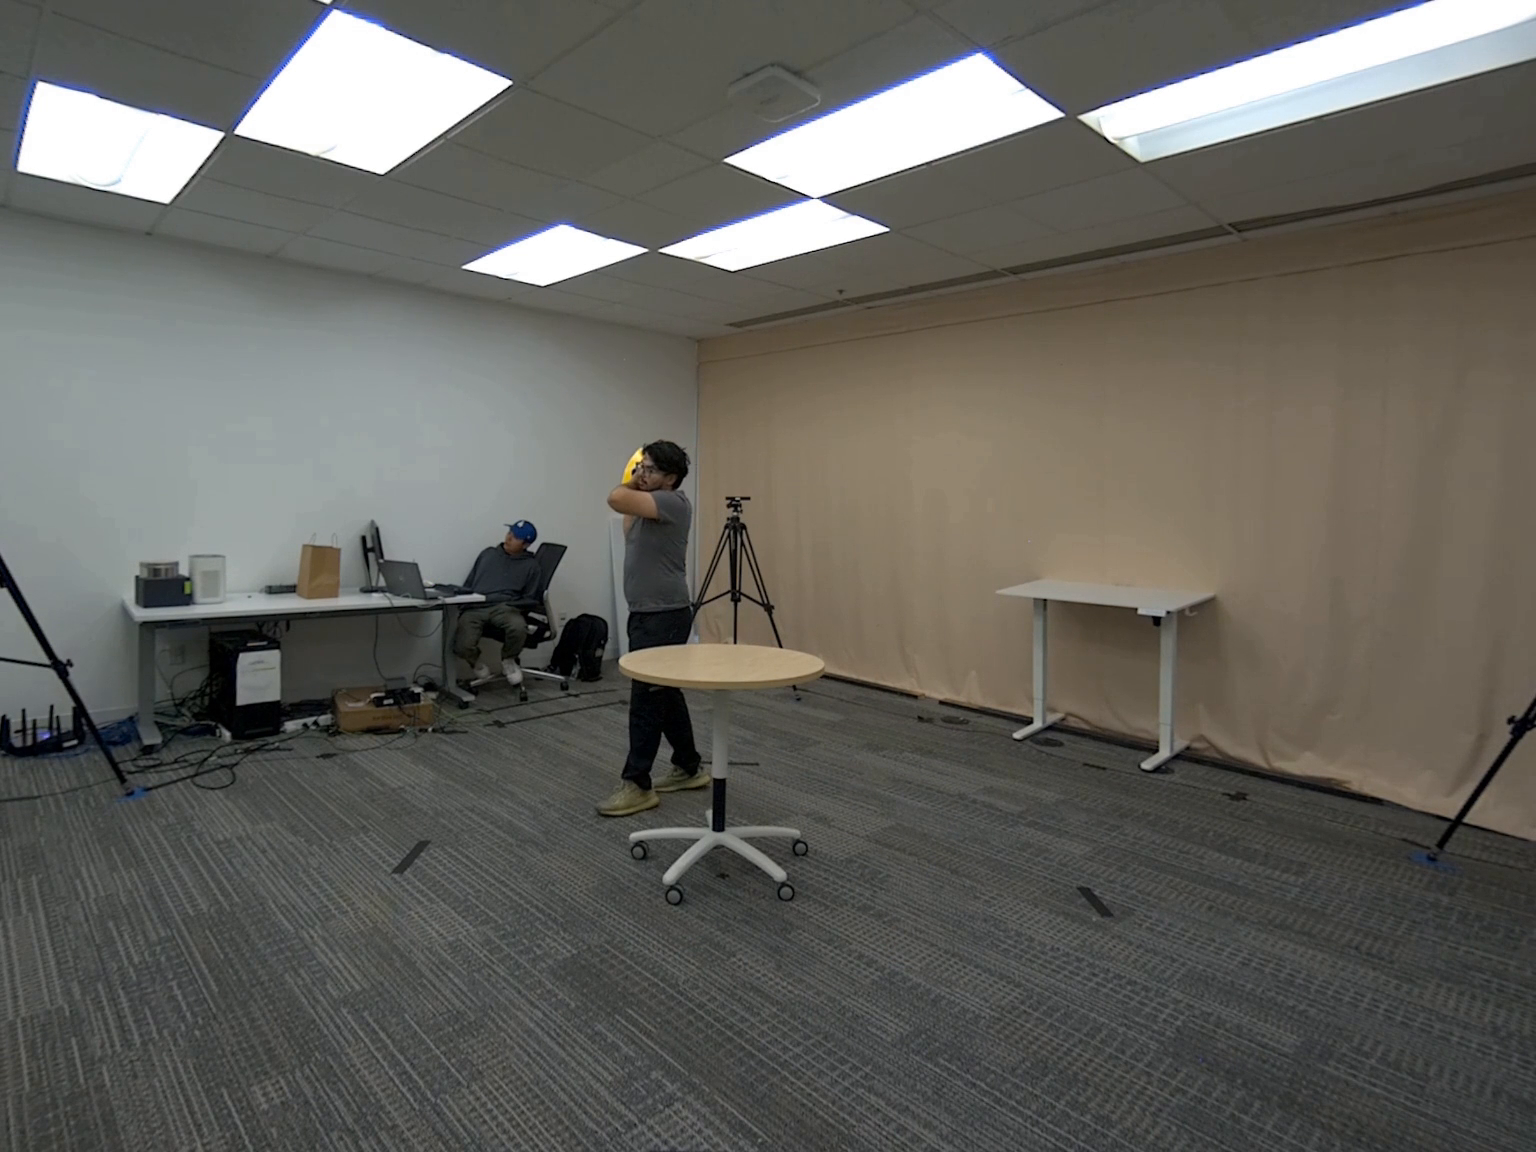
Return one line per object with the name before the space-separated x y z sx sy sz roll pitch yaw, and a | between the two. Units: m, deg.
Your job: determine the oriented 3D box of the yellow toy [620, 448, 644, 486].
yellow toy | -0.624 -0.478 3.971 0.191 0.227 0.209 -21 17 -19
